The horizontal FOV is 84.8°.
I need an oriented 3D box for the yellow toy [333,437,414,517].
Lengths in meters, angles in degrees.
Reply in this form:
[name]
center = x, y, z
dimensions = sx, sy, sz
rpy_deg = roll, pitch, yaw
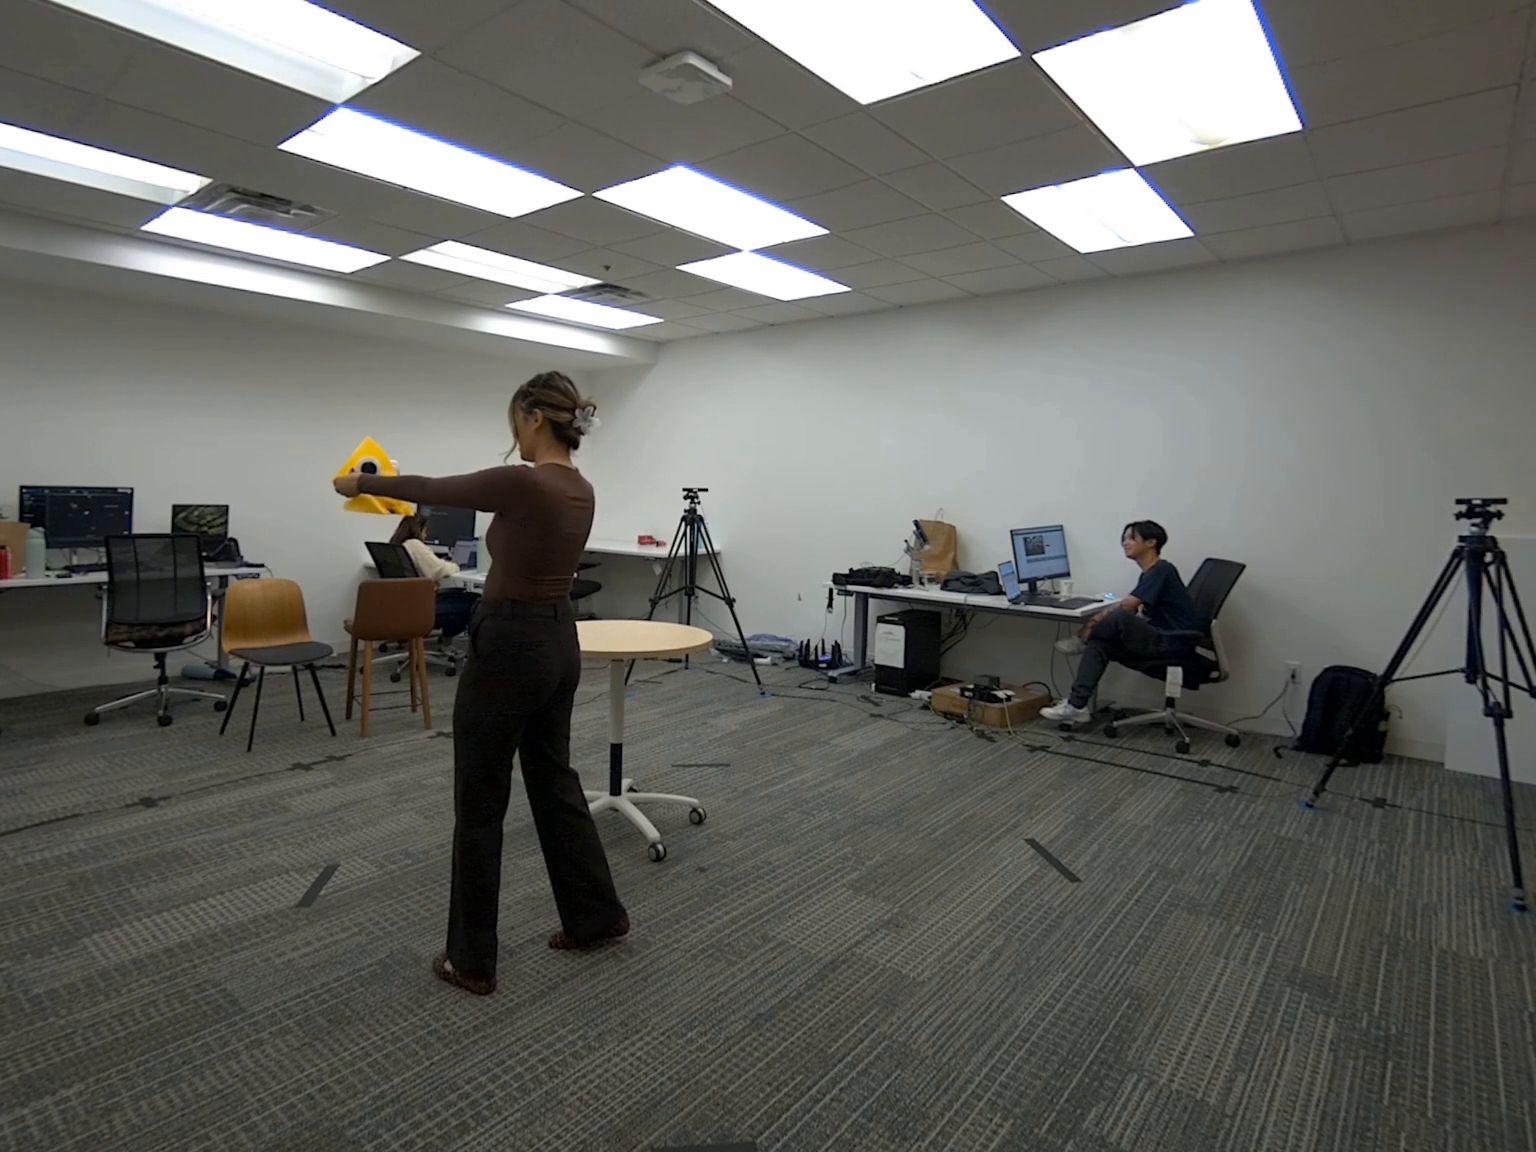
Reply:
[yellow toy]
center = -1.206, -0.312, 2.615
dimensions = 0.197, 0.230, 0.201
rpy_deg = 7, 2, 15
